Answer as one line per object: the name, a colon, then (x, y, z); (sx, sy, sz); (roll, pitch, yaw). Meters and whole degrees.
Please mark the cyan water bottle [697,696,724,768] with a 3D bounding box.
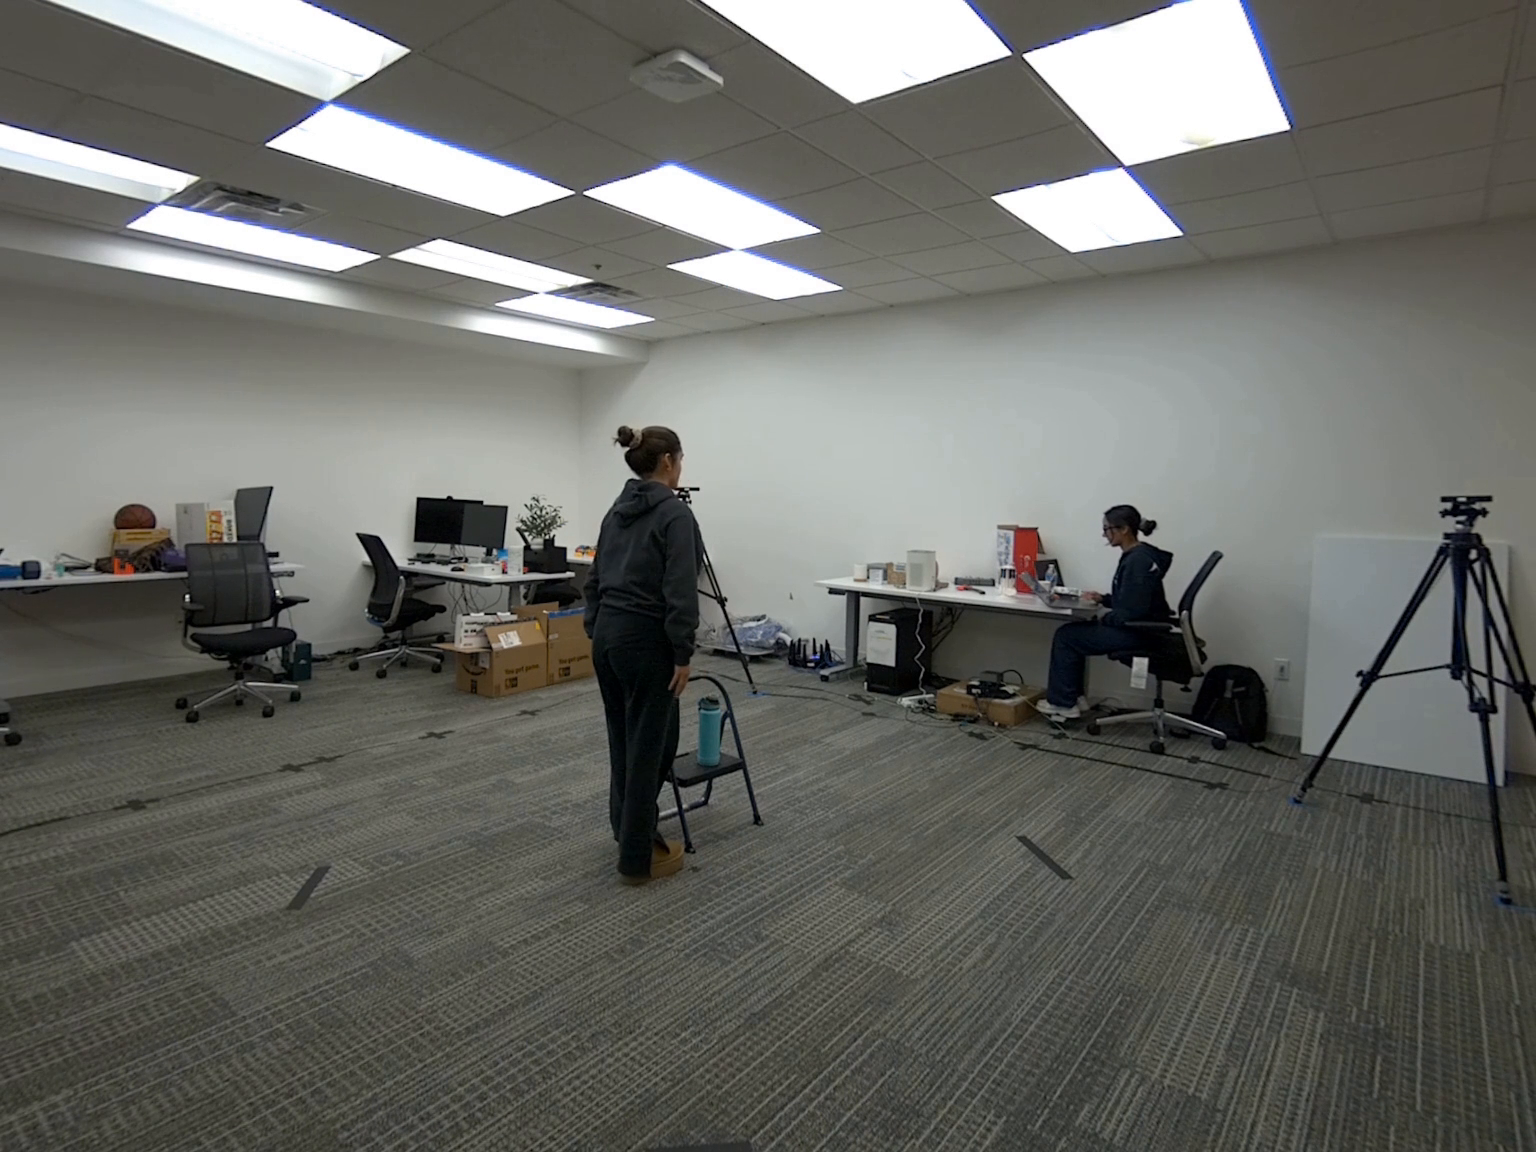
cyan water bottle: (-0.248, 0.627, 3.500); (0.092, 0.282, 0.093); (1, 4, -2)
